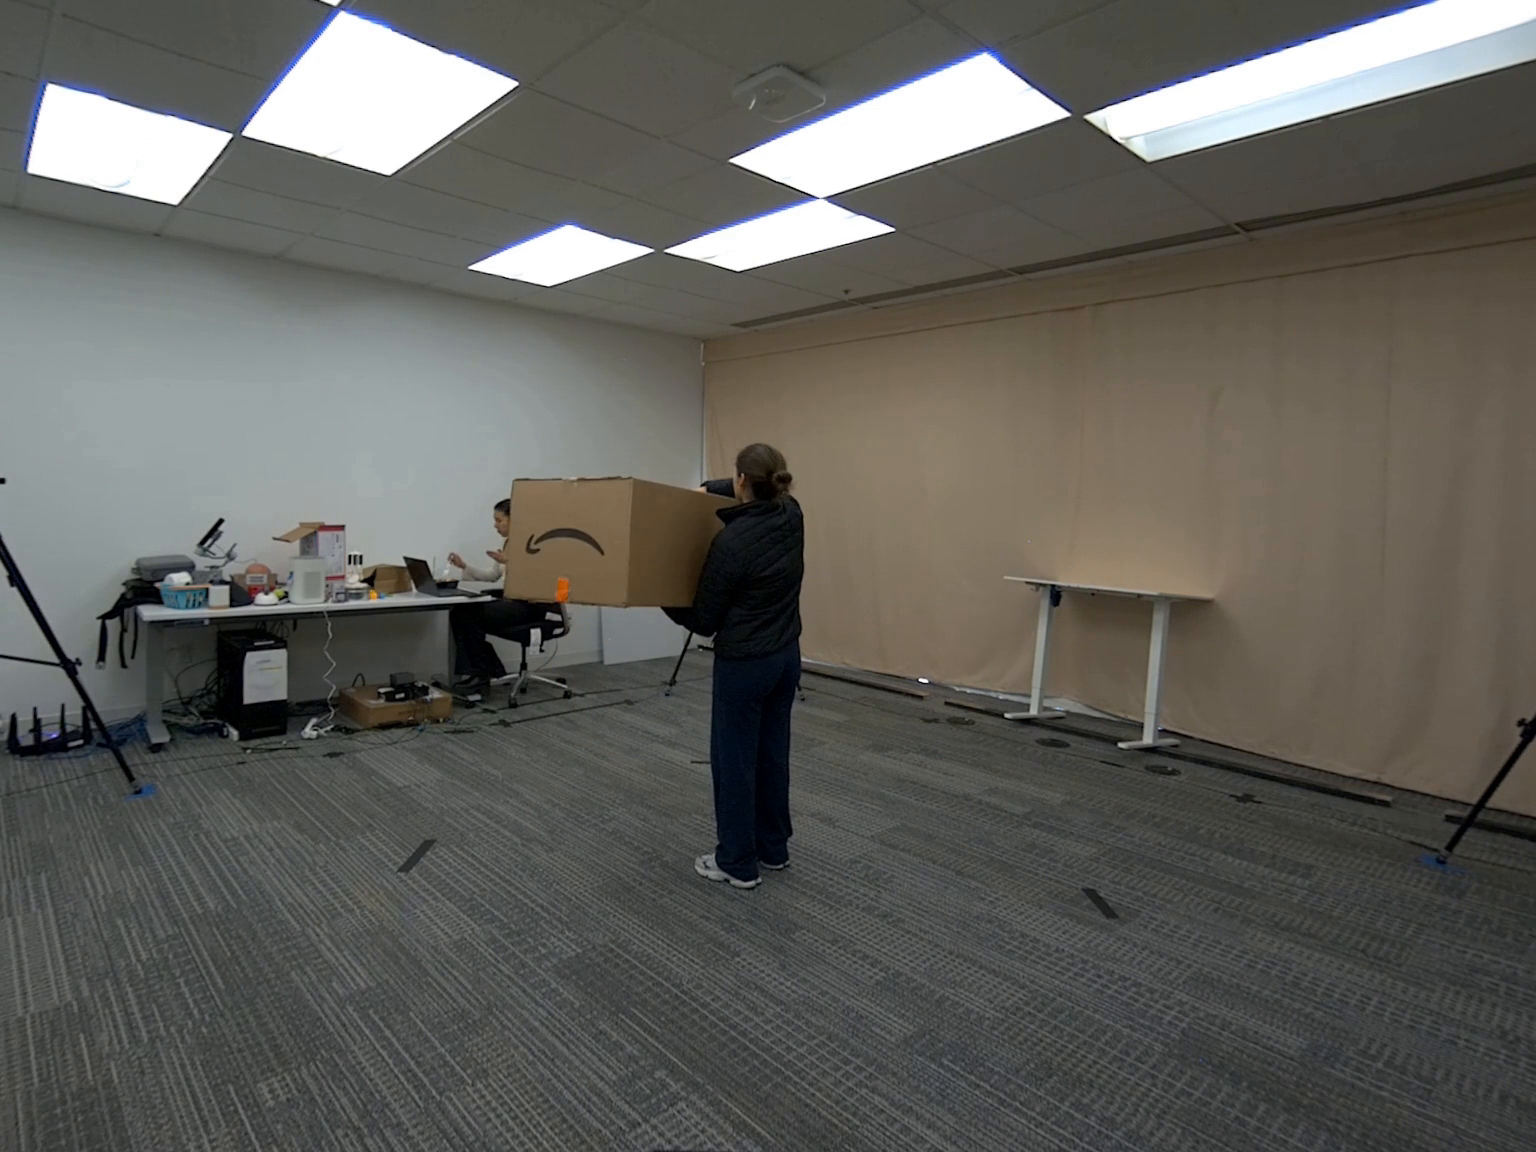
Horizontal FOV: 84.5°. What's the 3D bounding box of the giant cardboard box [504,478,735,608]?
[{"bbox_3d":[-0.434,-0.106,3.271,0.590,0.426,1.002,4,0,32],"label":"giant cardboard box"}]
